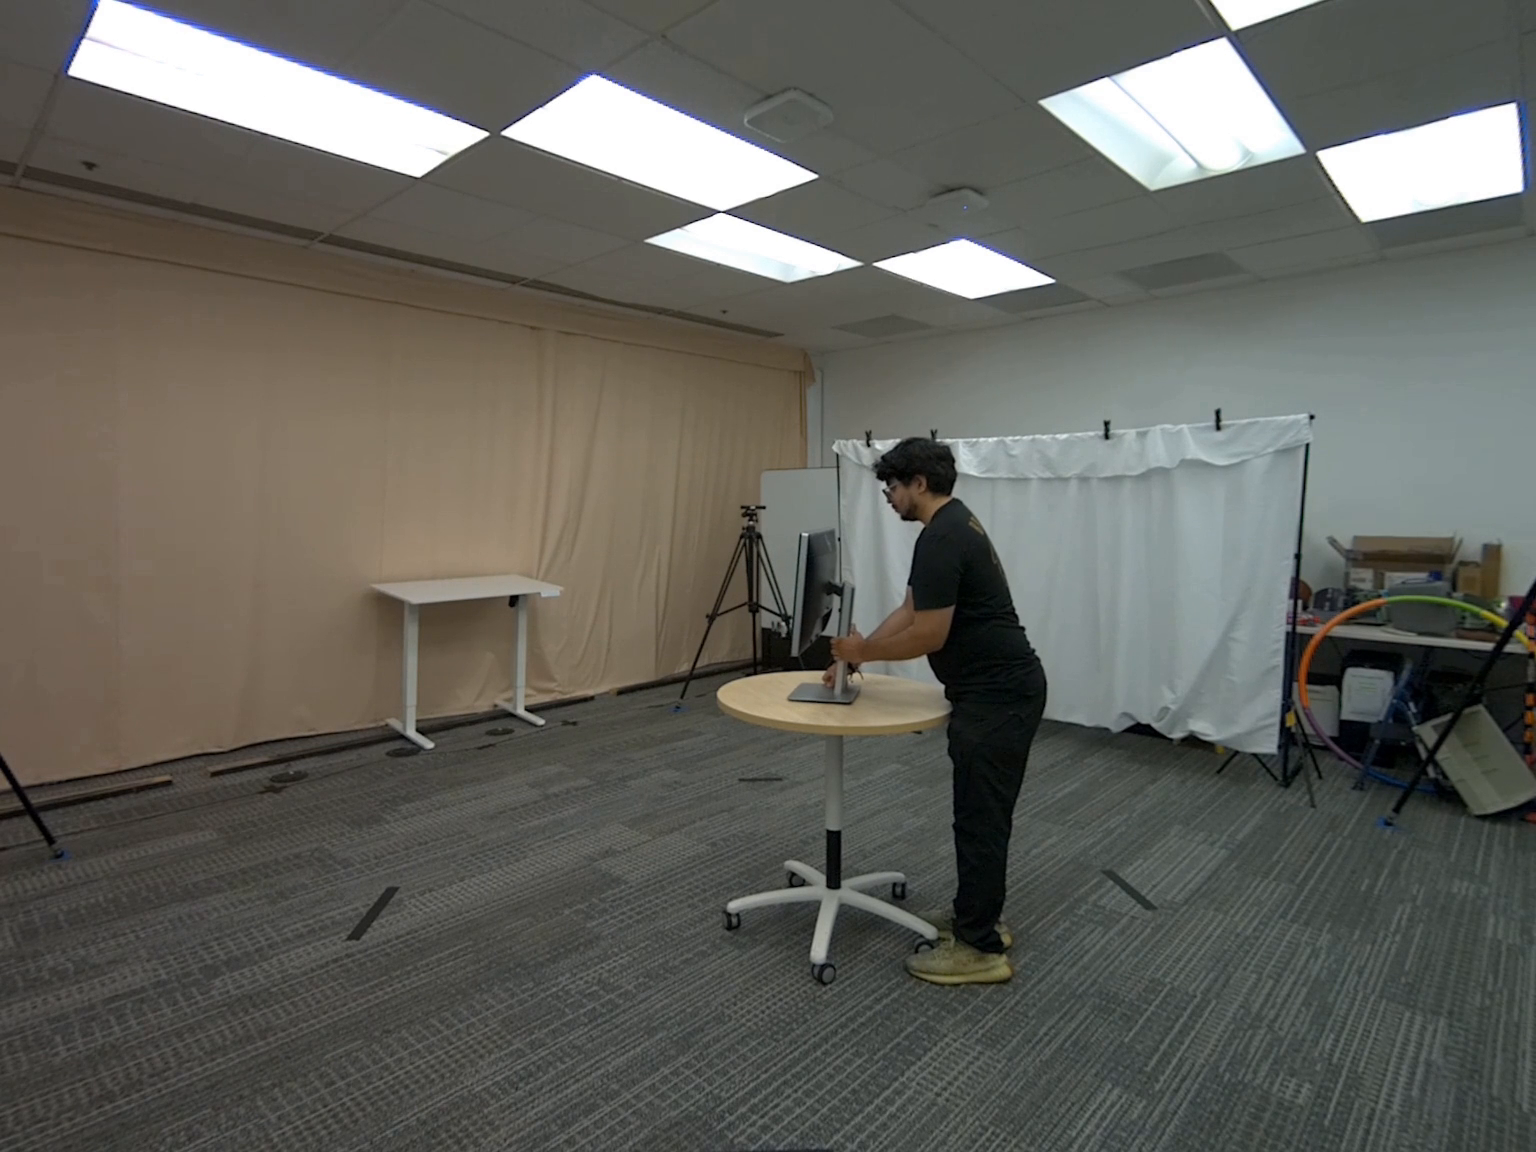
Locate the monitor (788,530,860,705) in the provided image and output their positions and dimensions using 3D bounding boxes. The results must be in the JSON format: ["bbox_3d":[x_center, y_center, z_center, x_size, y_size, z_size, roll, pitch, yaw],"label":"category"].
[{"bbox_3d":[0.213,0.125,2.709,0.214,0.552,0.557,3,5,15],"label":"monitor"}]
